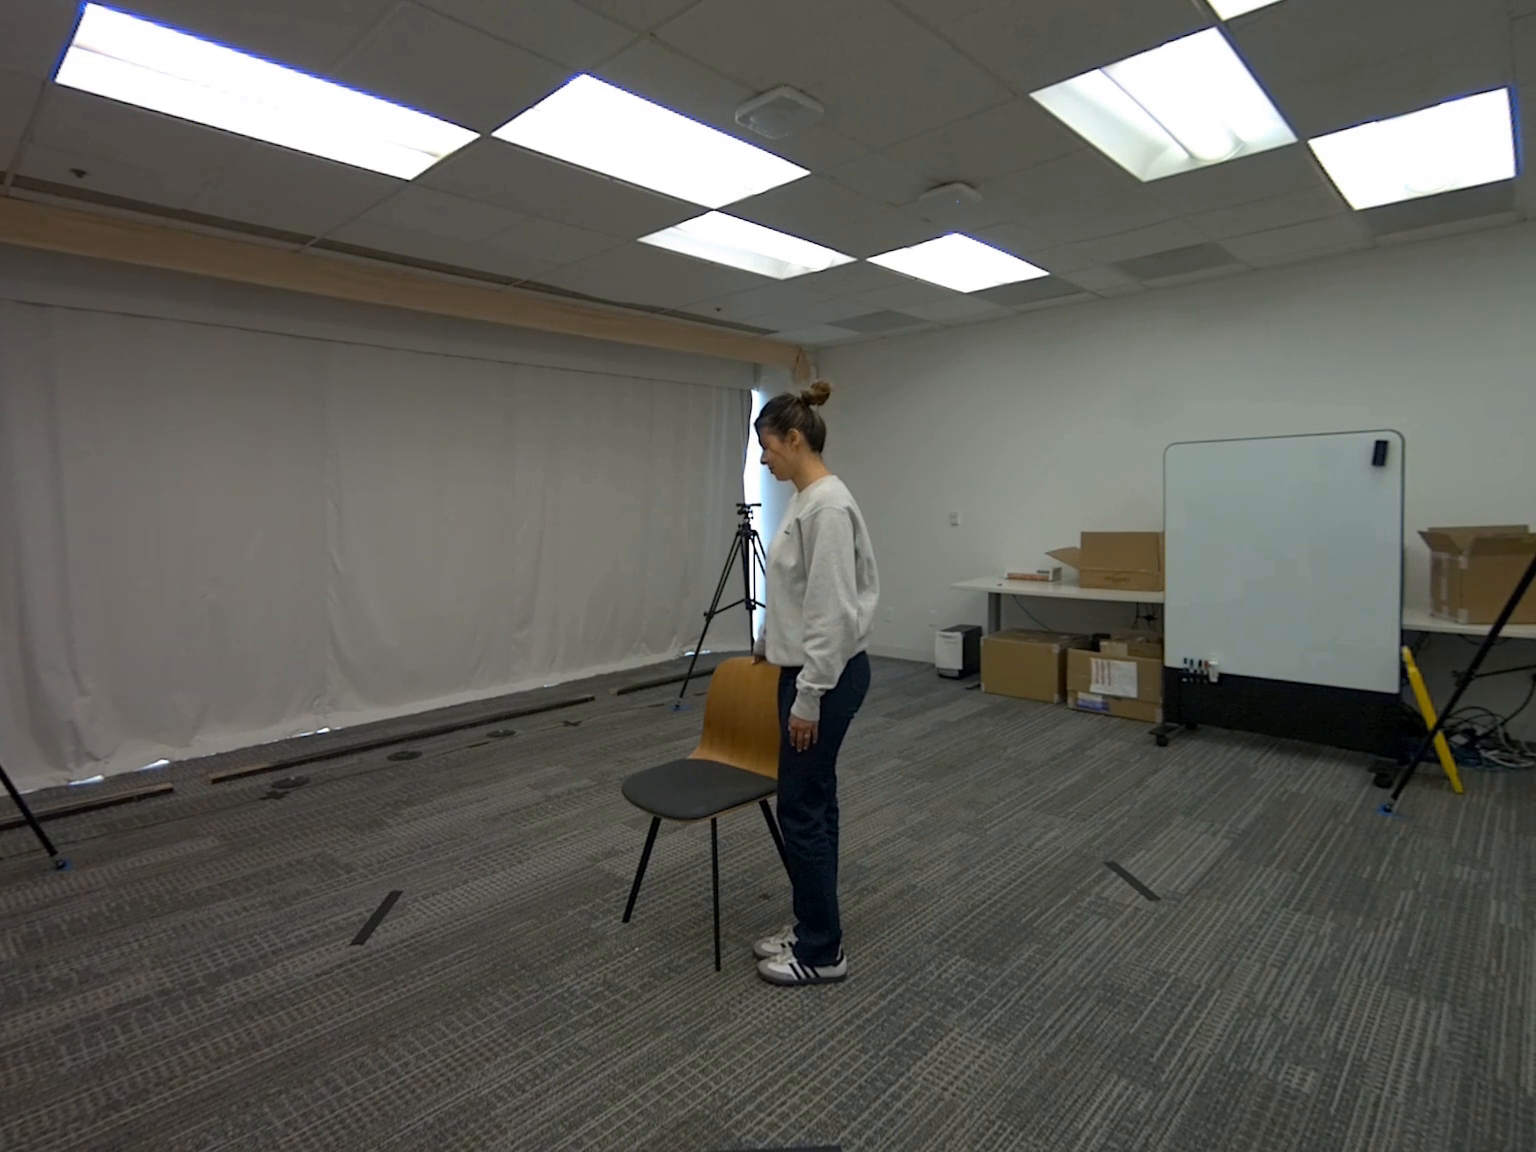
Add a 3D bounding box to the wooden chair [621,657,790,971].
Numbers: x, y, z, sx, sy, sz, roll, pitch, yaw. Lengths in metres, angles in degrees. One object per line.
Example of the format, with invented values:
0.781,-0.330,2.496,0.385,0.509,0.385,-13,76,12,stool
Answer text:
-0.183,0.731,2.796,0.494,0.877,0.506,3,1,43,wooden chair
